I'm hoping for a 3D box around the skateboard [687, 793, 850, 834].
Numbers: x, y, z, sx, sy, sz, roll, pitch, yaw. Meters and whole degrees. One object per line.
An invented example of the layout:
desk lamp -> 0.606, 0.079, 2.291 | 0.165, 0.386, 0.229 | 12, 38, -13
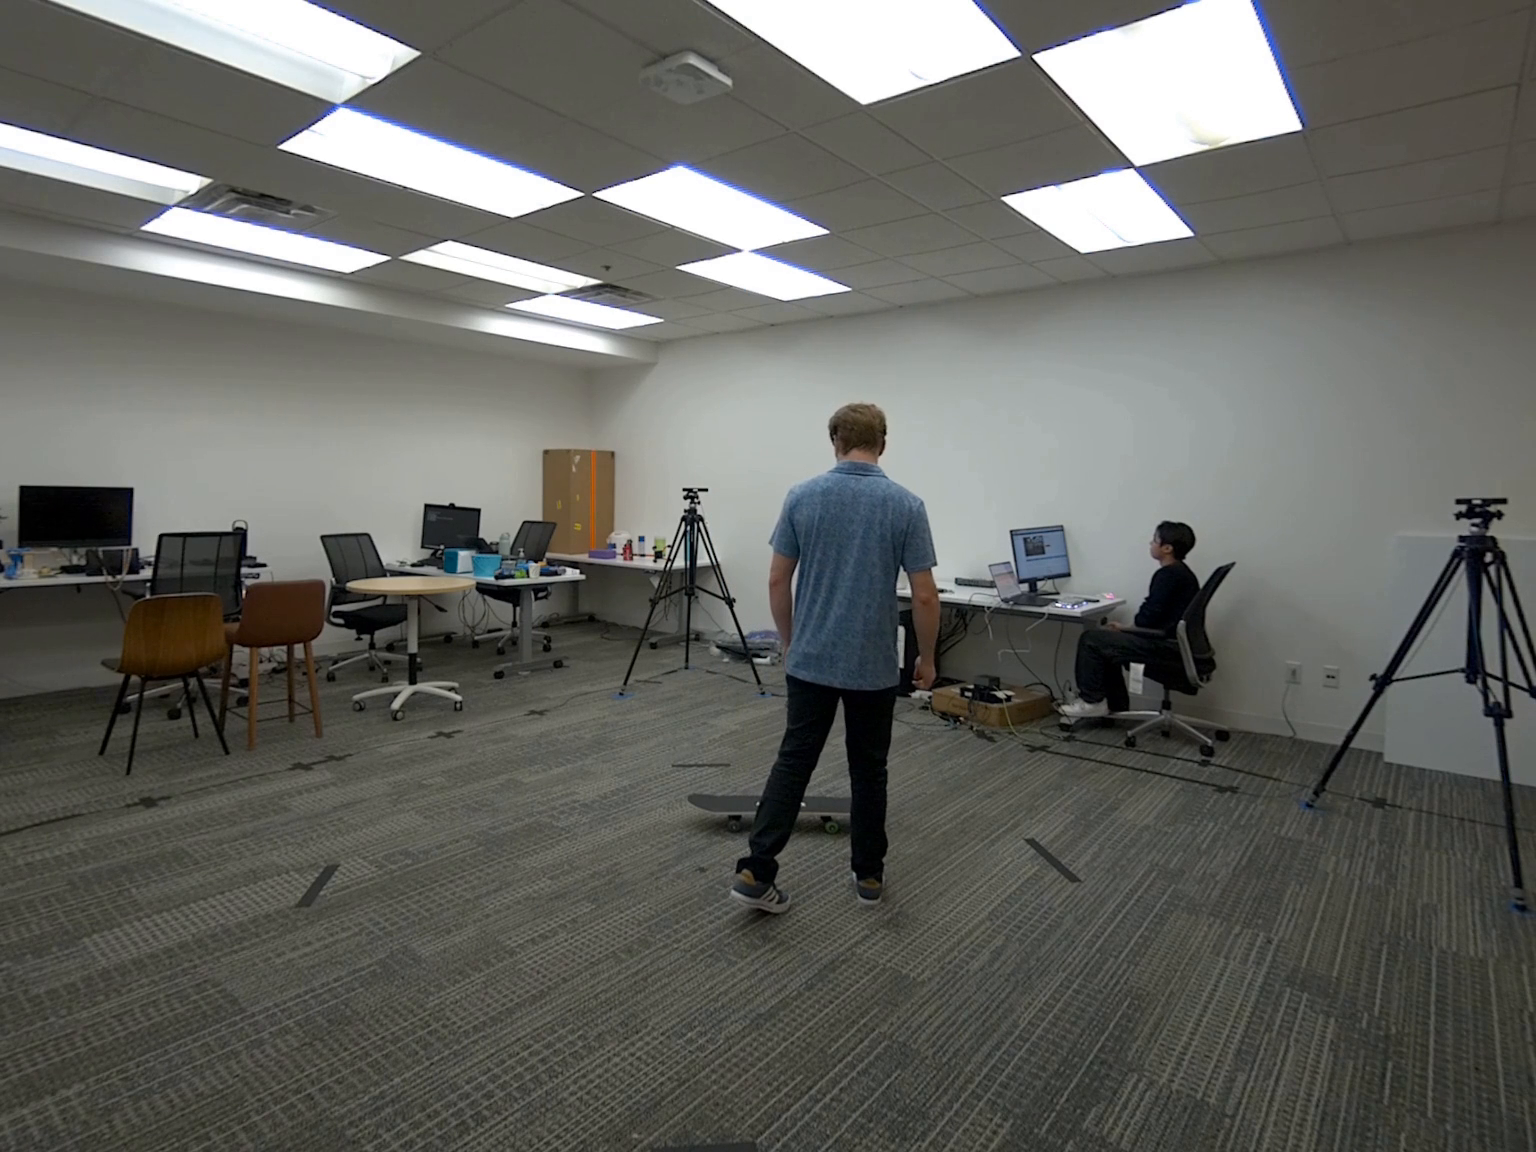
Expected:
skateboard -> 0.046, 0.977, 3.535 | 0.783, 0.110, 0.195 | 1, 5, -3
